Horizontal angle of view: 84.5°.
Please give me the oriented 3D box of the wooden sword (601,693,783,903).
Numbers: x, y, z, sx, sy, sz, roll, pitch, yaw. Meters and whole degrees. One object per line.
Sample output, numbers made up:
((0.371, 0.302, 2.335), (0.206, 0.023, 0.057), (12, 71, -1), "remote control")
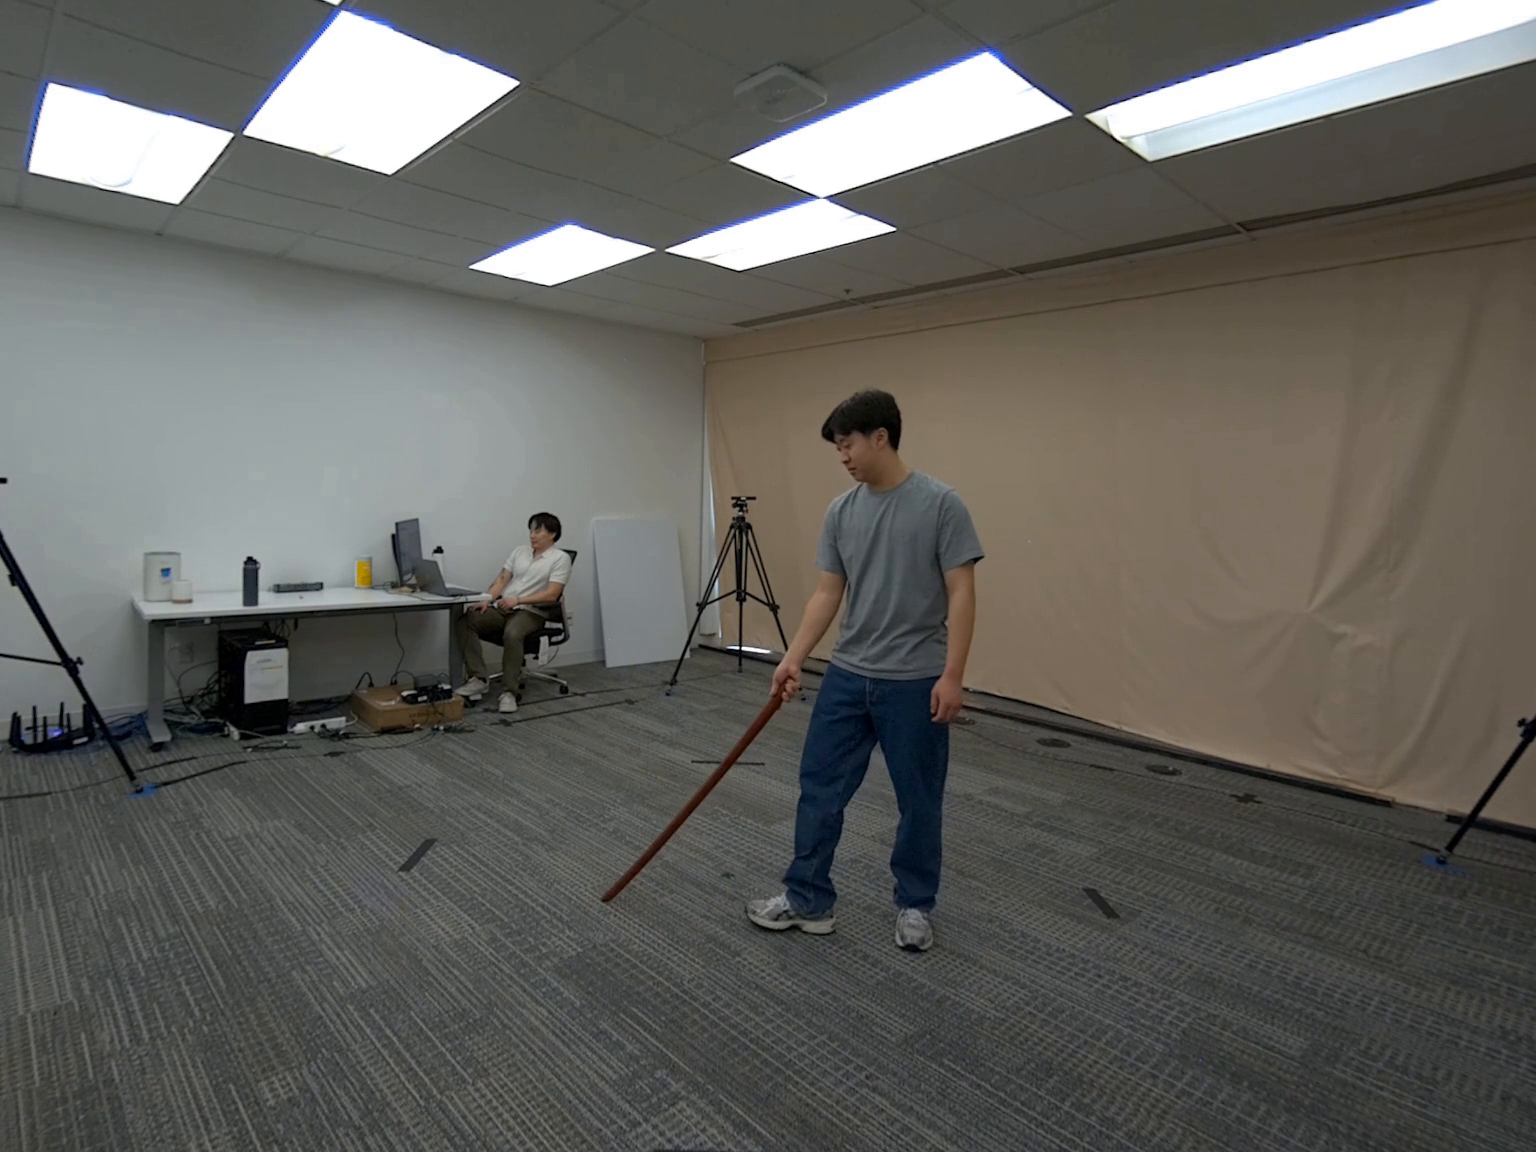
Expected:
((-0.253, 0.739, 2.775), (0.050, 1.024, 0.025), (30, 13, -40), "wooden sword")
